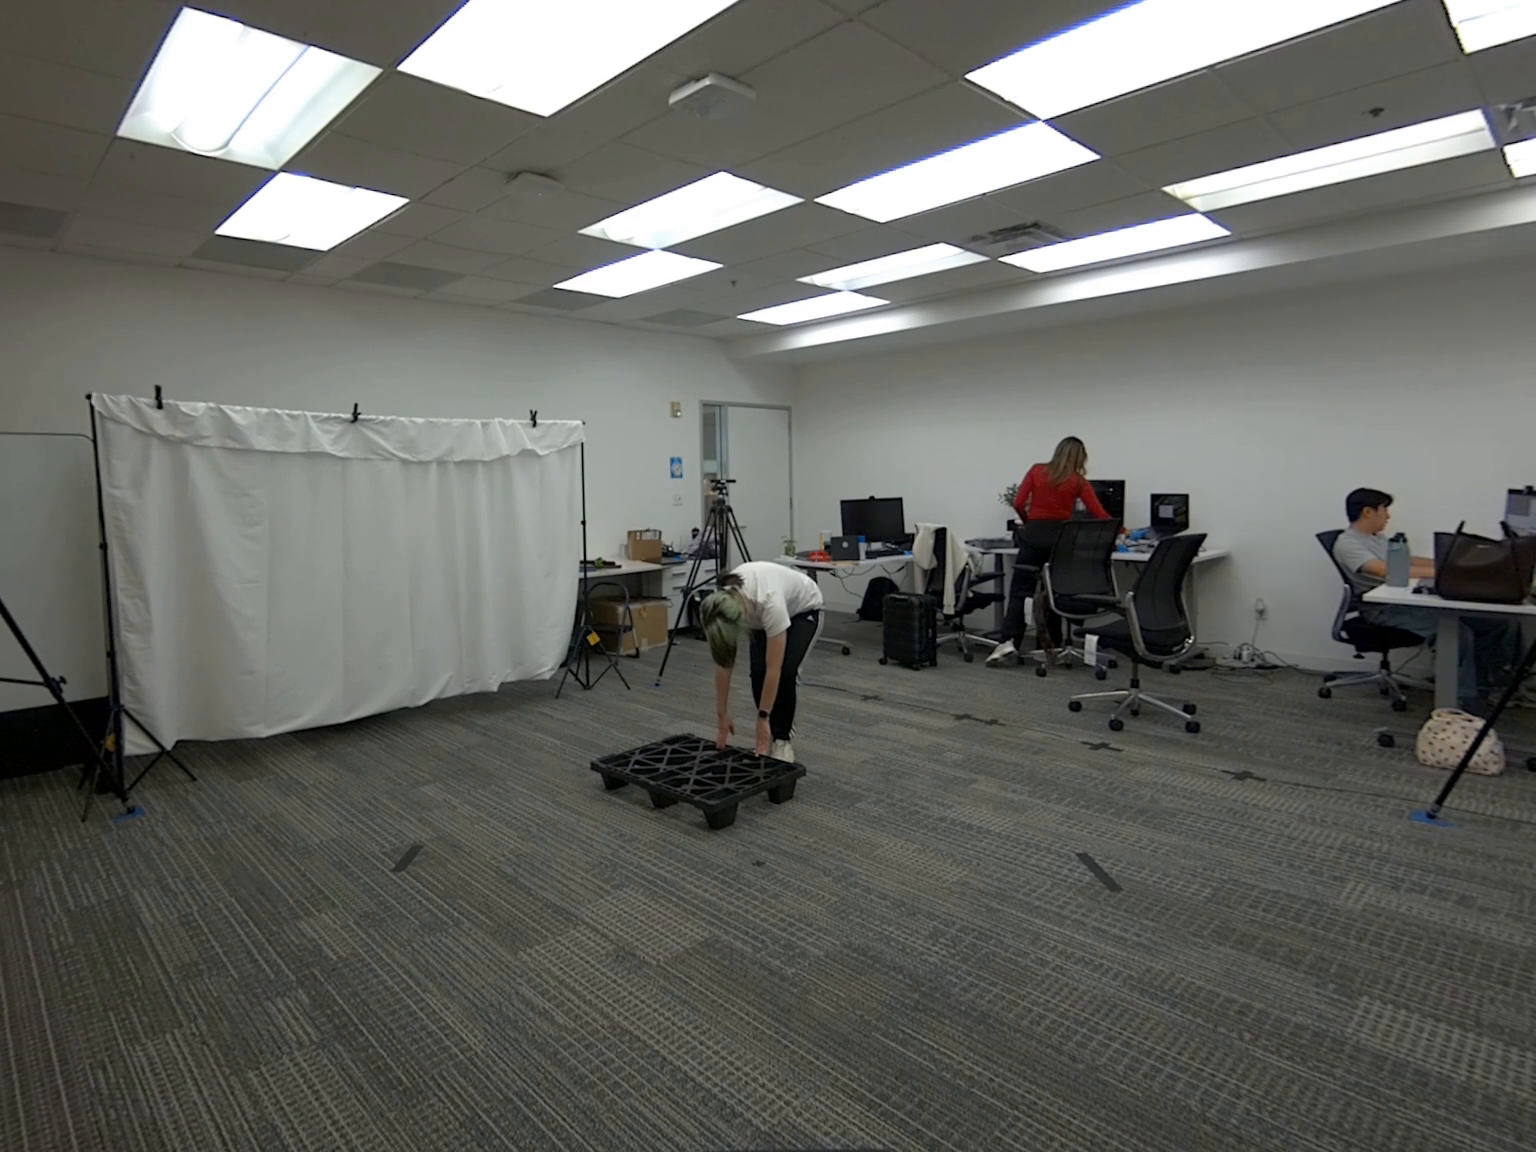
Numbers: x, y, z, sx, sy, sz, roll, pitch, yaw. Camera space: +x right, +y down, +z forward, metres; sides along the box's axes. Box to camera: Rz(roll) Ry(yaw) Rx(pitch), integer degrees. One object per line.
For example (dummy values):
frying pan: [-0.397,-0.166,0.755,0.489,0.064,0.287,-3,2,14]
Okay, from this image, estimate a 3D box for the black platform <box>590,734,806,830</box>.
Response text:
black platform: [-0.318,0.905,3.827,0.830,0.143,0.589,5,8,43]
